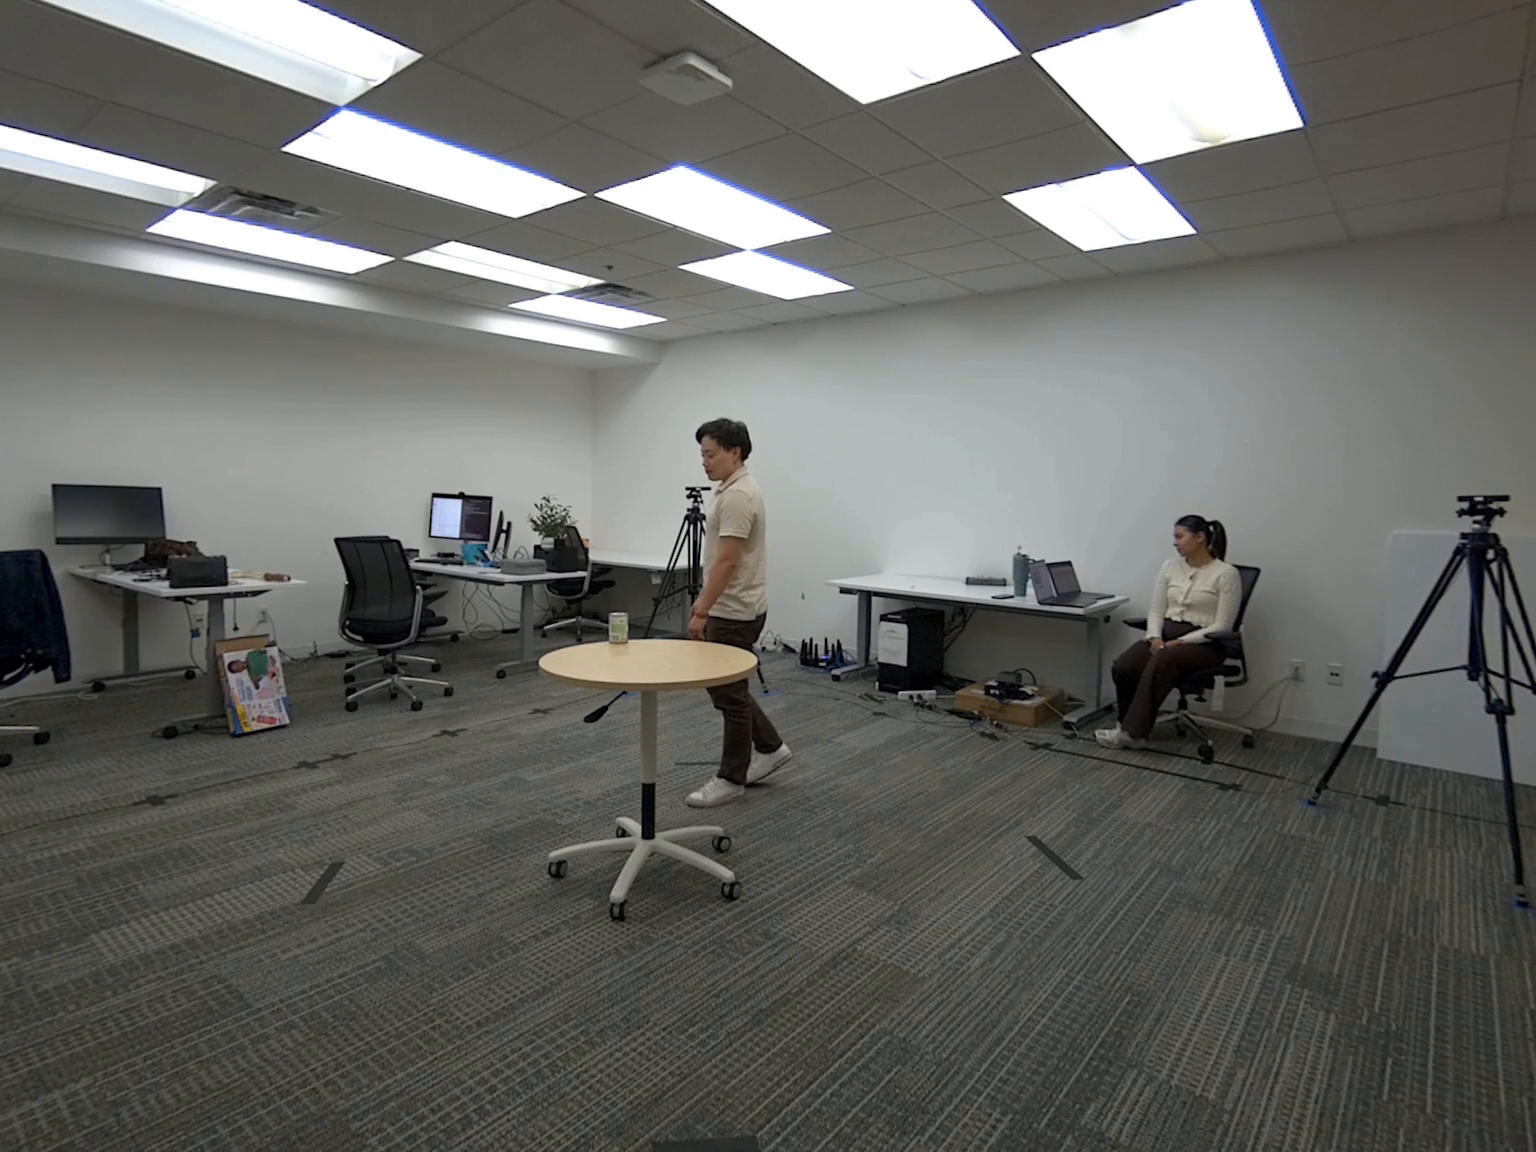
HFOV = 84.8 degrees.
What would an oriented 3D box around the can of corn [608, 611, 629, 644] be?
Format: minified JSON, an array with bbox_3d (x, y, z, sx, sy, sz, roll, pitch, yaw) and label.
[{"bbox_3d":[-0.598,0.201,3.310,0.074,0.111,0.074,-1,2,-2],"label":"can of corn"}]
